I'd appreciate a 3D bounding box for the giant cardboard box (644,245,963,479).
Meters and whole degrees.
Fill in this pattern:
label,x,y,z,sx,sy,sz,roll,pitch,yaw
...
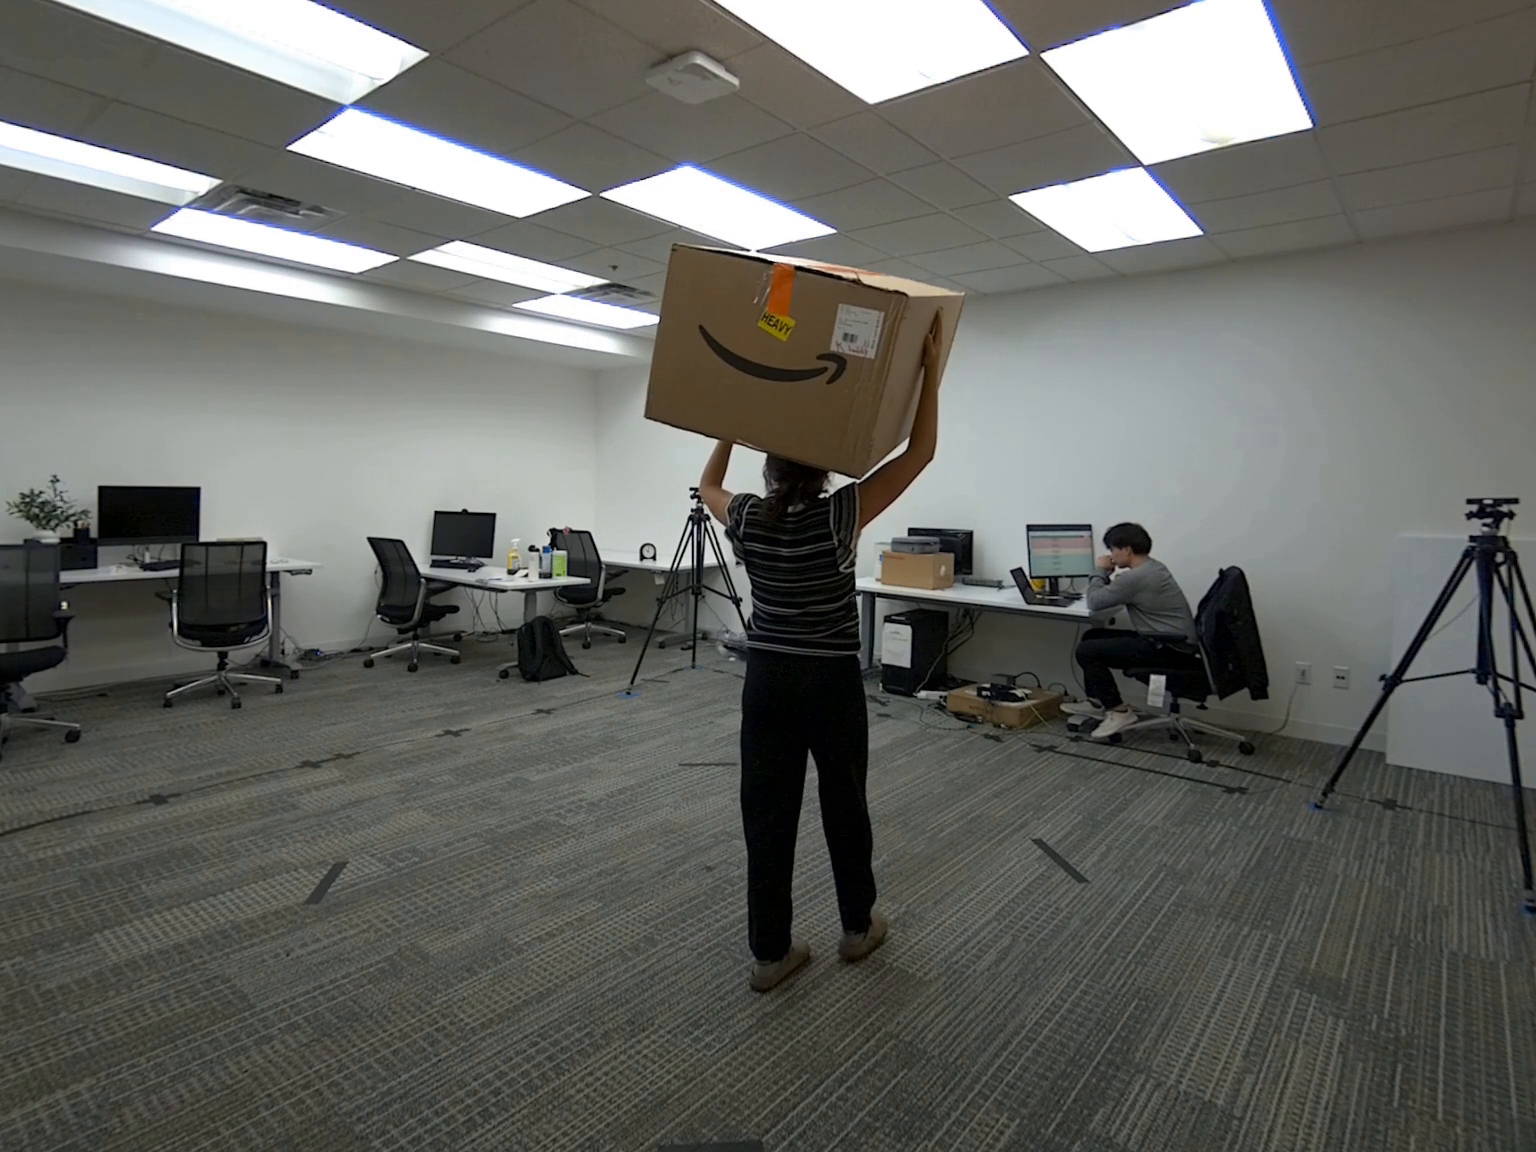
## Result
label,x,y,z,sx,sy,sz,roll,pitch,yaw
giant cardboard box,0.150,-0.648,2.424,0.590,0.420,1.020,17,22,14
